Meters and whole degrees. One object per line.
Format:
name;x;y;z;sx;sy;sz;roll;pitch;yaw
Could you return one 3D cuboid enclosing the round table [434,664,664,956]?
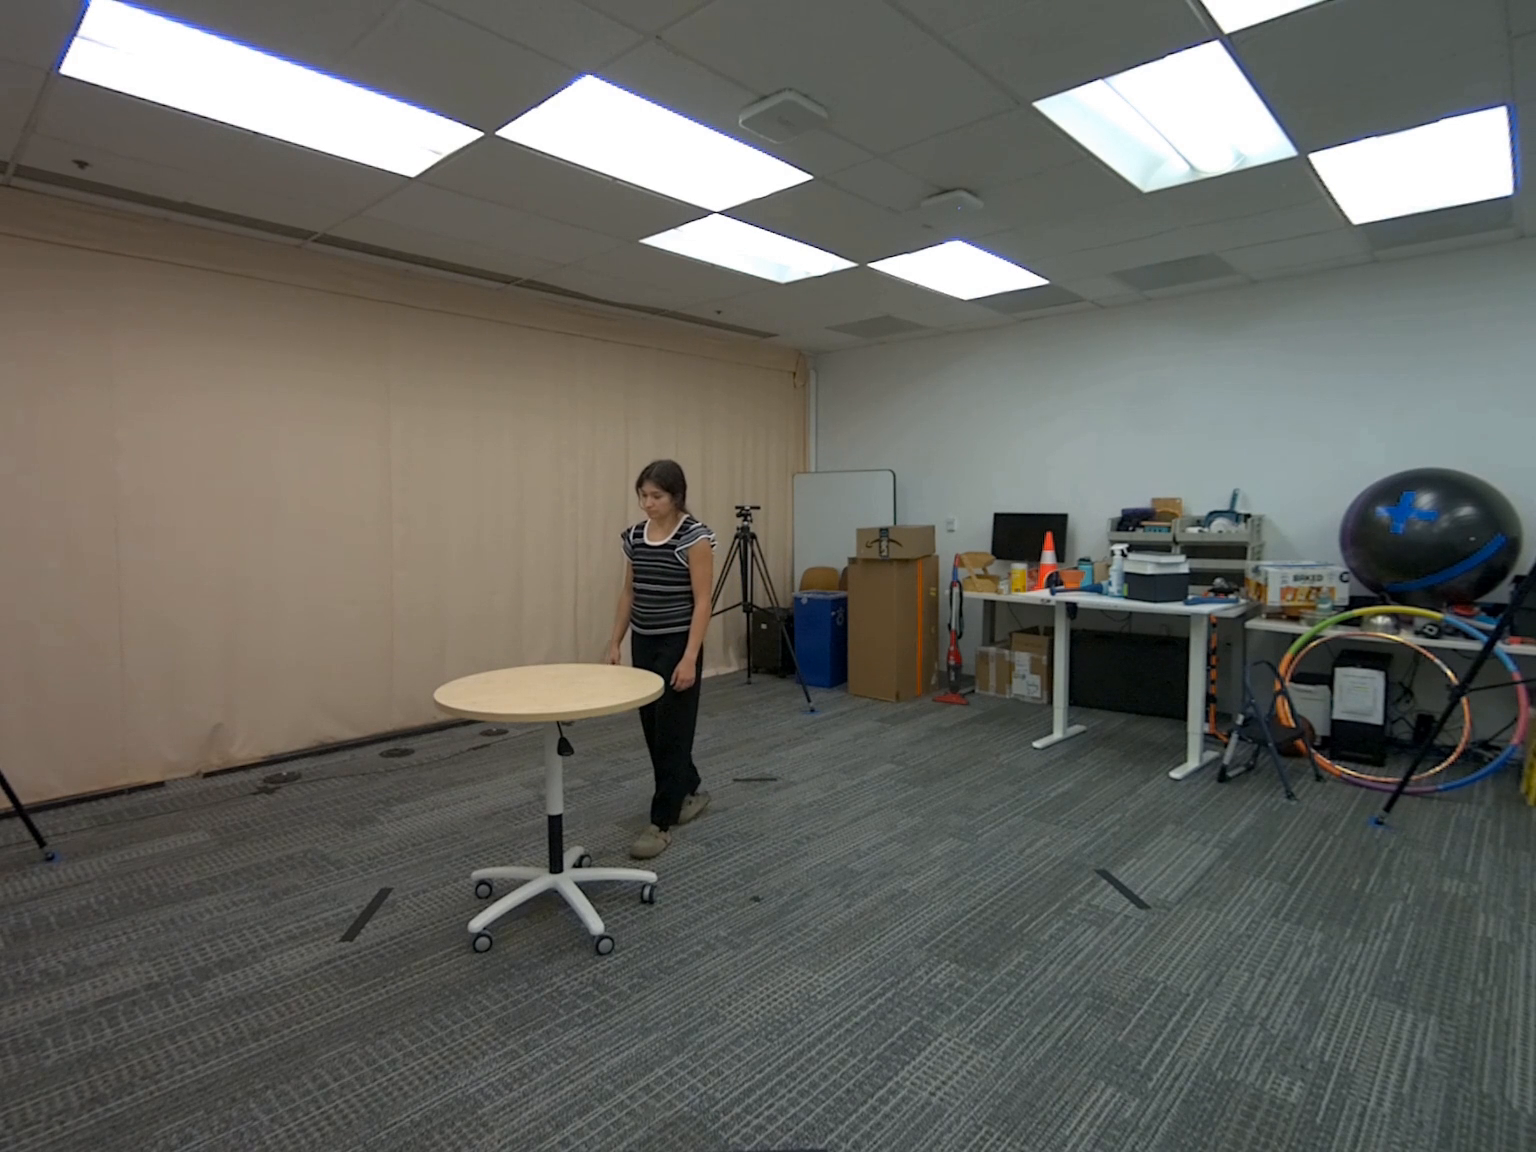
round table;-0.734;0.769;2.876;0.763;0.792;0.766;-1;4;-2
